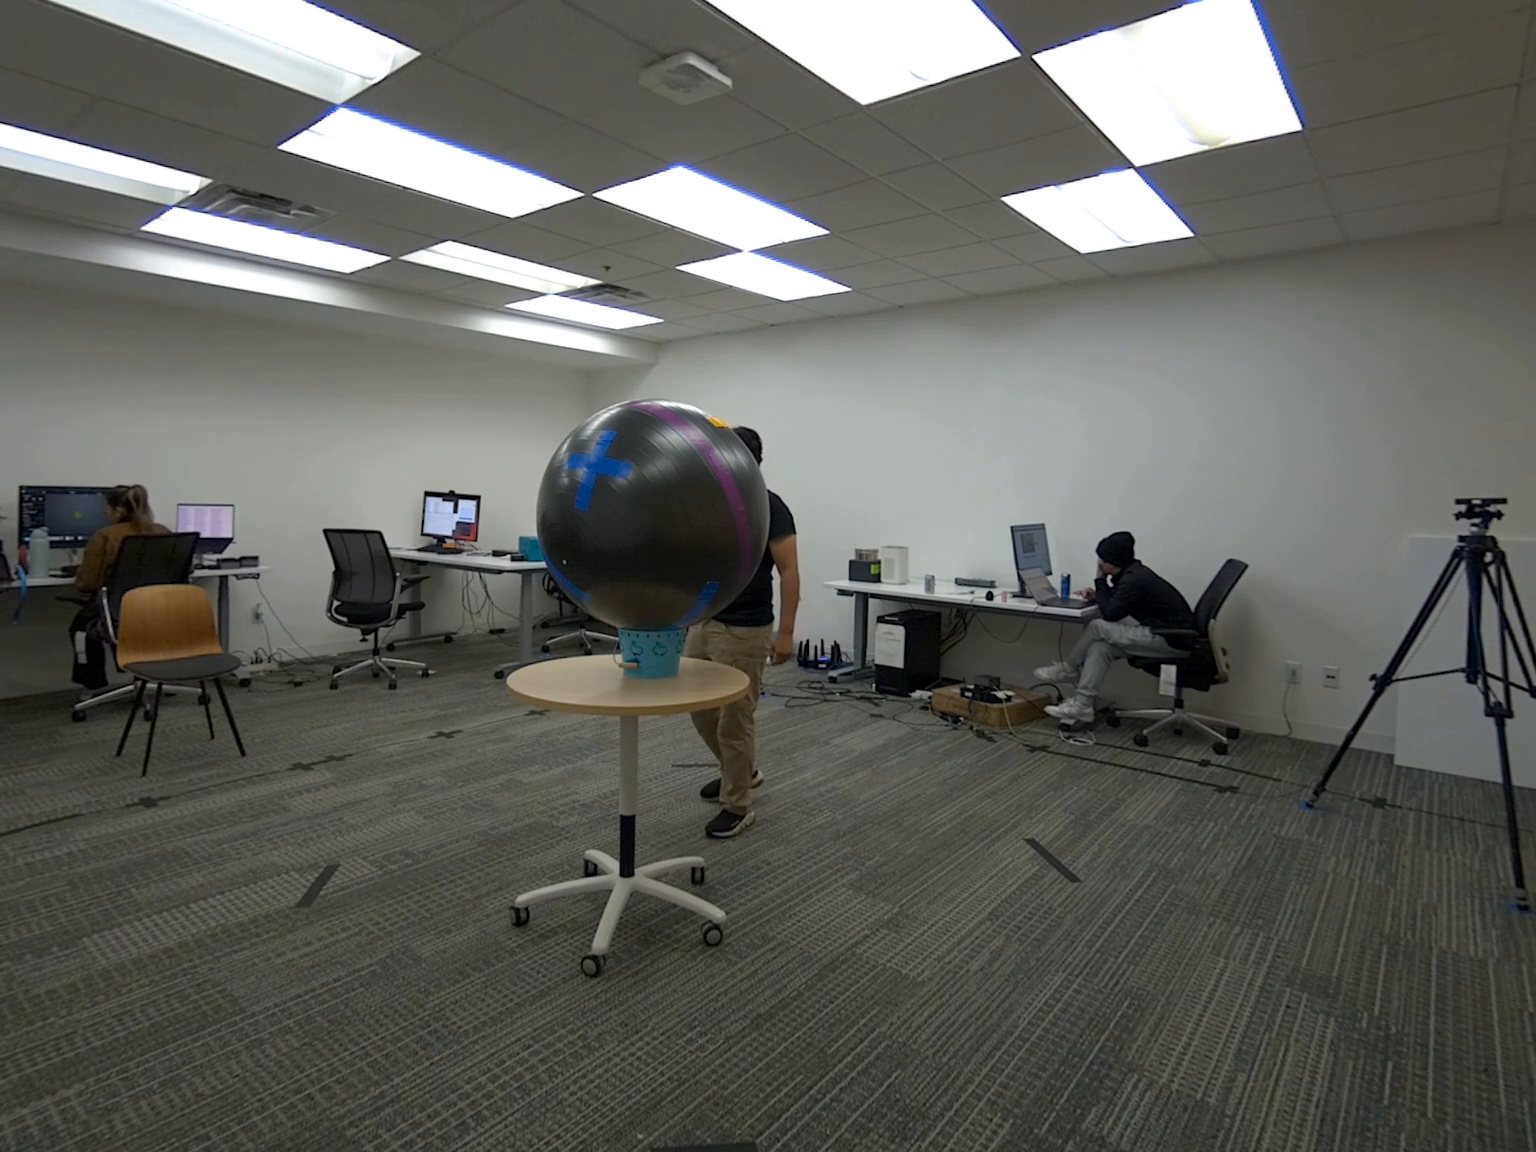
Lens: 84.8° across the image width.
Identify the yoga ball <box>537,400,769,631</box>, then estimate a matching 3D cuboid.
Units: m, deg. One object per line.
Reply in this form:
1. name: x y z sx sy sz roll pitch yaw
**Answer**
1. yoga ball: -0.383 -0.193 2.778 0.757 0.755 0.762 1 4 -2
